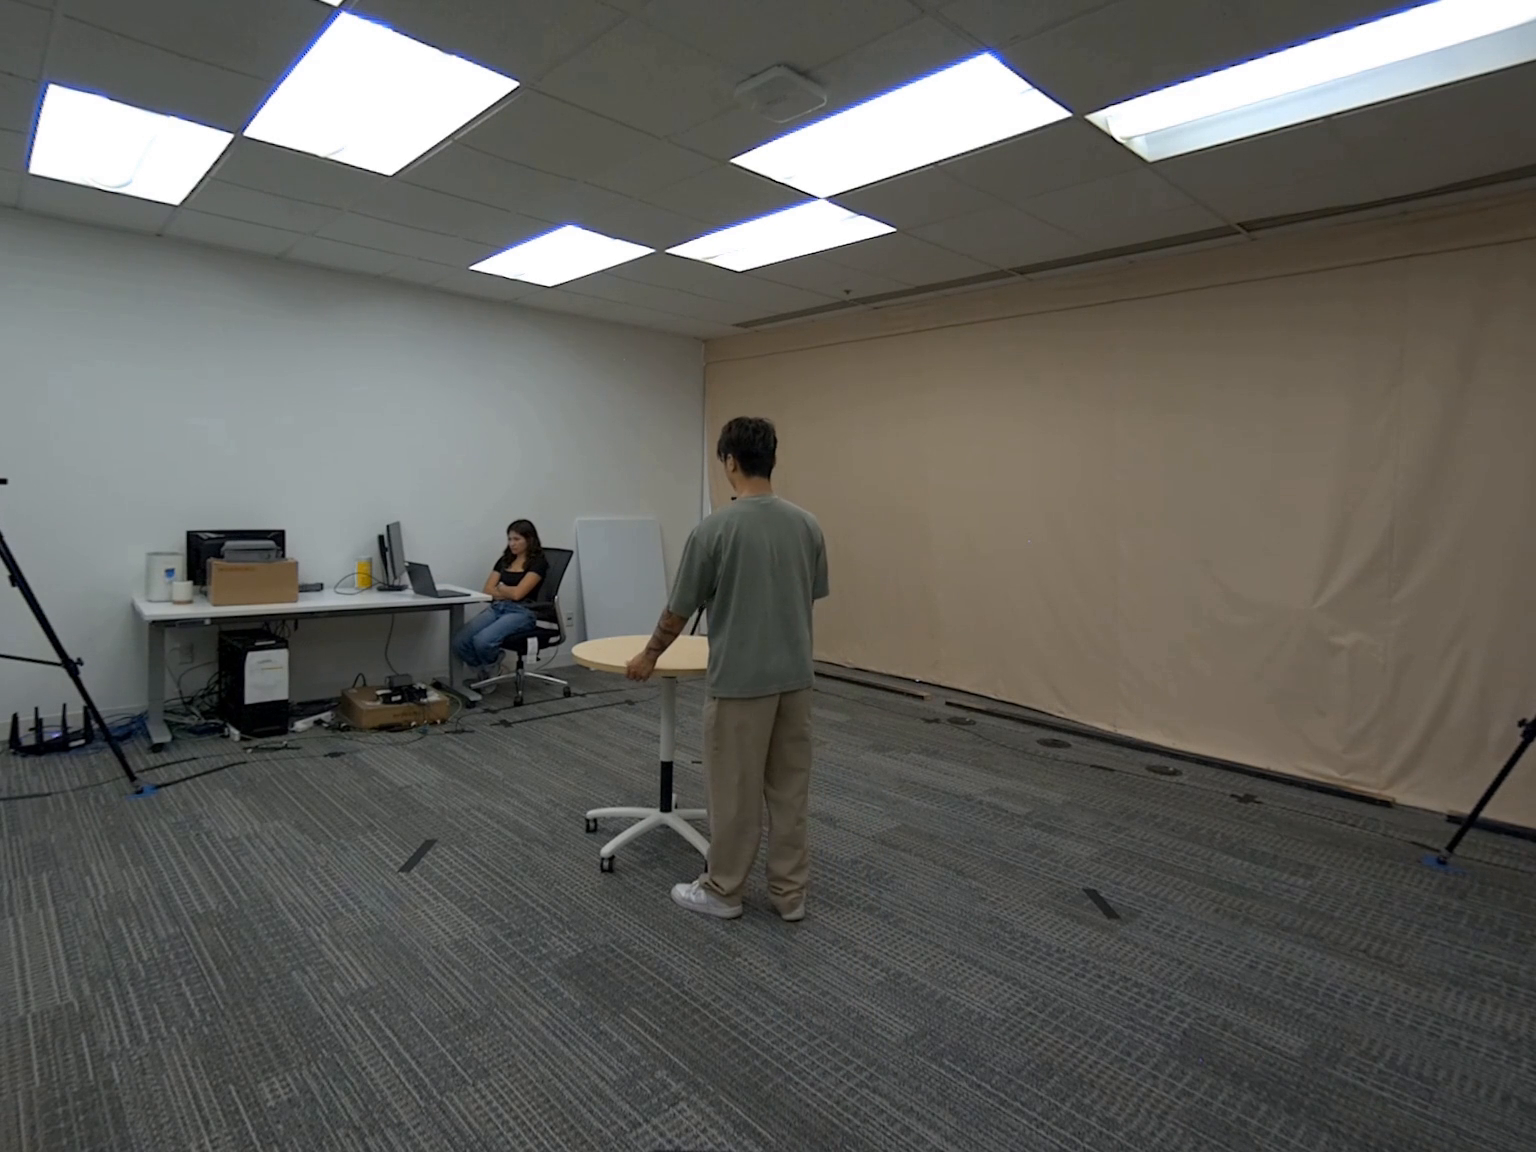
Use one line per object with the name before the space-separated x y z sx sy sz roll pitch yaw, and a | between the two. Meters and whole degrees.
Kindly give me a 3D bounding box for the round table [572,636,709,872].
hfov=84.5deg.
round table | -0.423 0.684 3.341 0.784 0.785 0.787 1 4 -1
